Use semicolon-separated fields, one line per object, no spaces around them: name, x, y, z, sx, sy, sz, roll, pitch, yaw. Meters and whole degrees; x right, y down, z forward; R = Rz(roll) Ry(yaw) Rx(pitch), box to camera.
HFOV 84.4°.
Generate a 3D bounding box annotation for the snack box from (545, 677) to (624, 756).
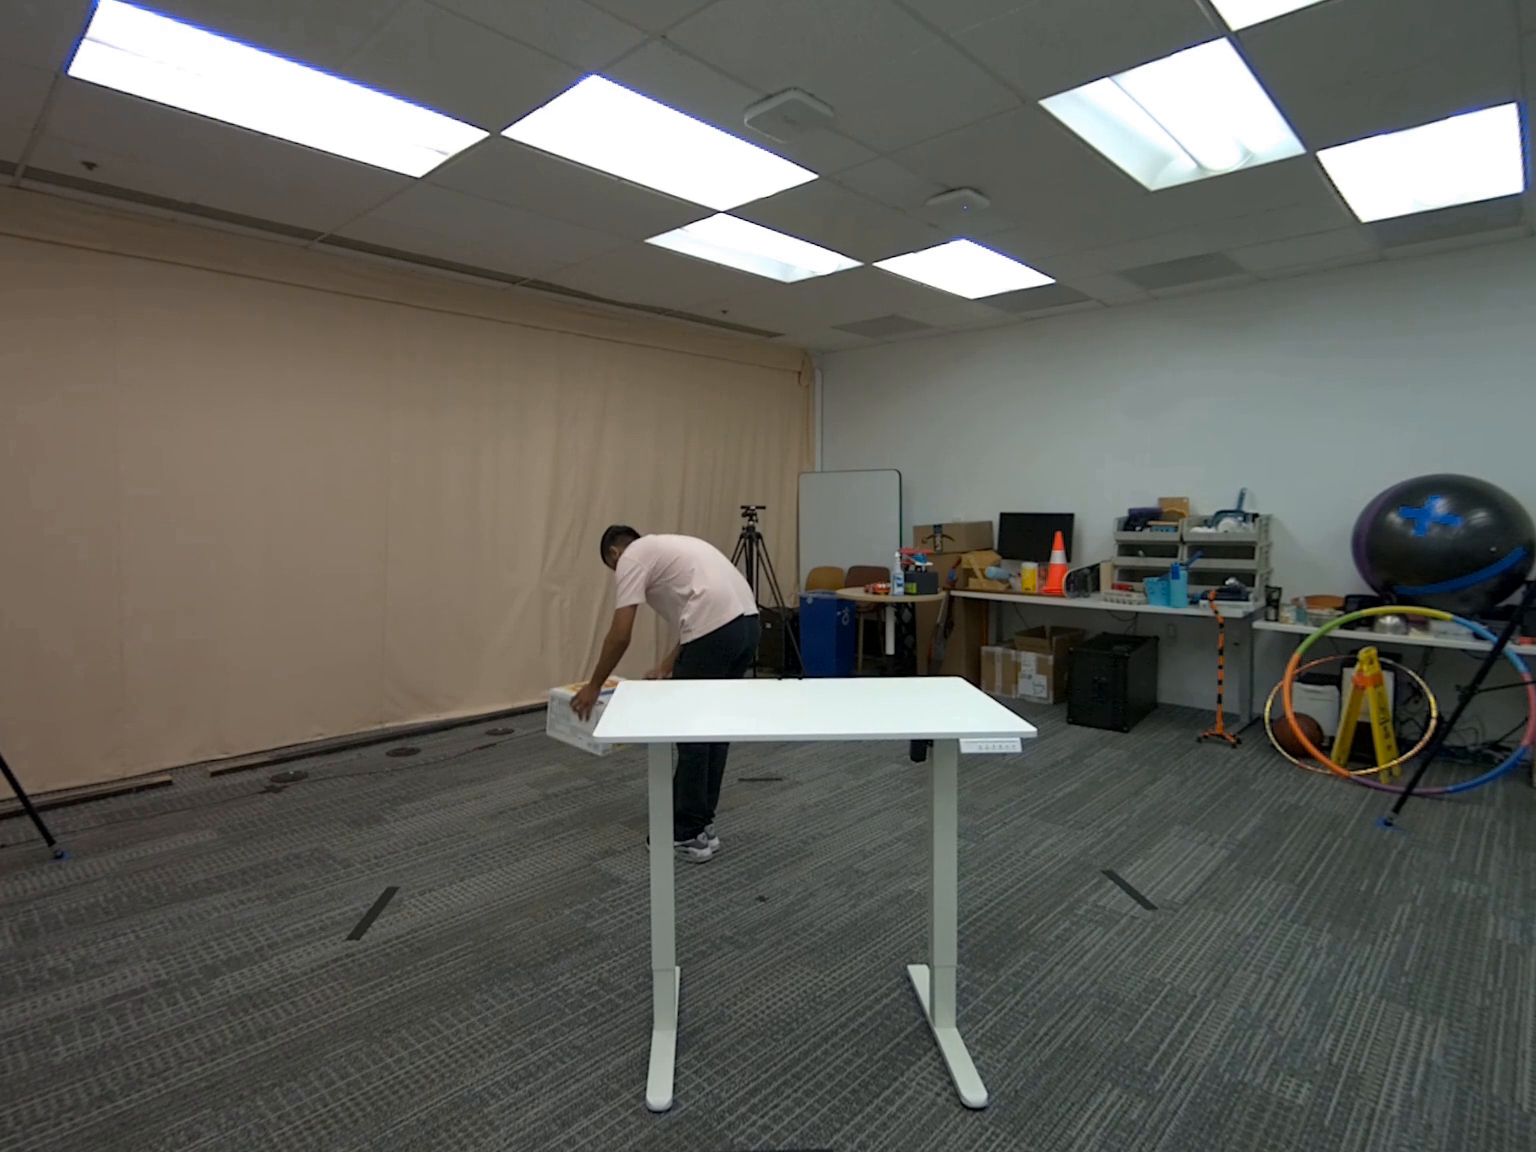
snack box;-0.698;0.593;3.661;0.352;0.205;0.393;10;9;35
